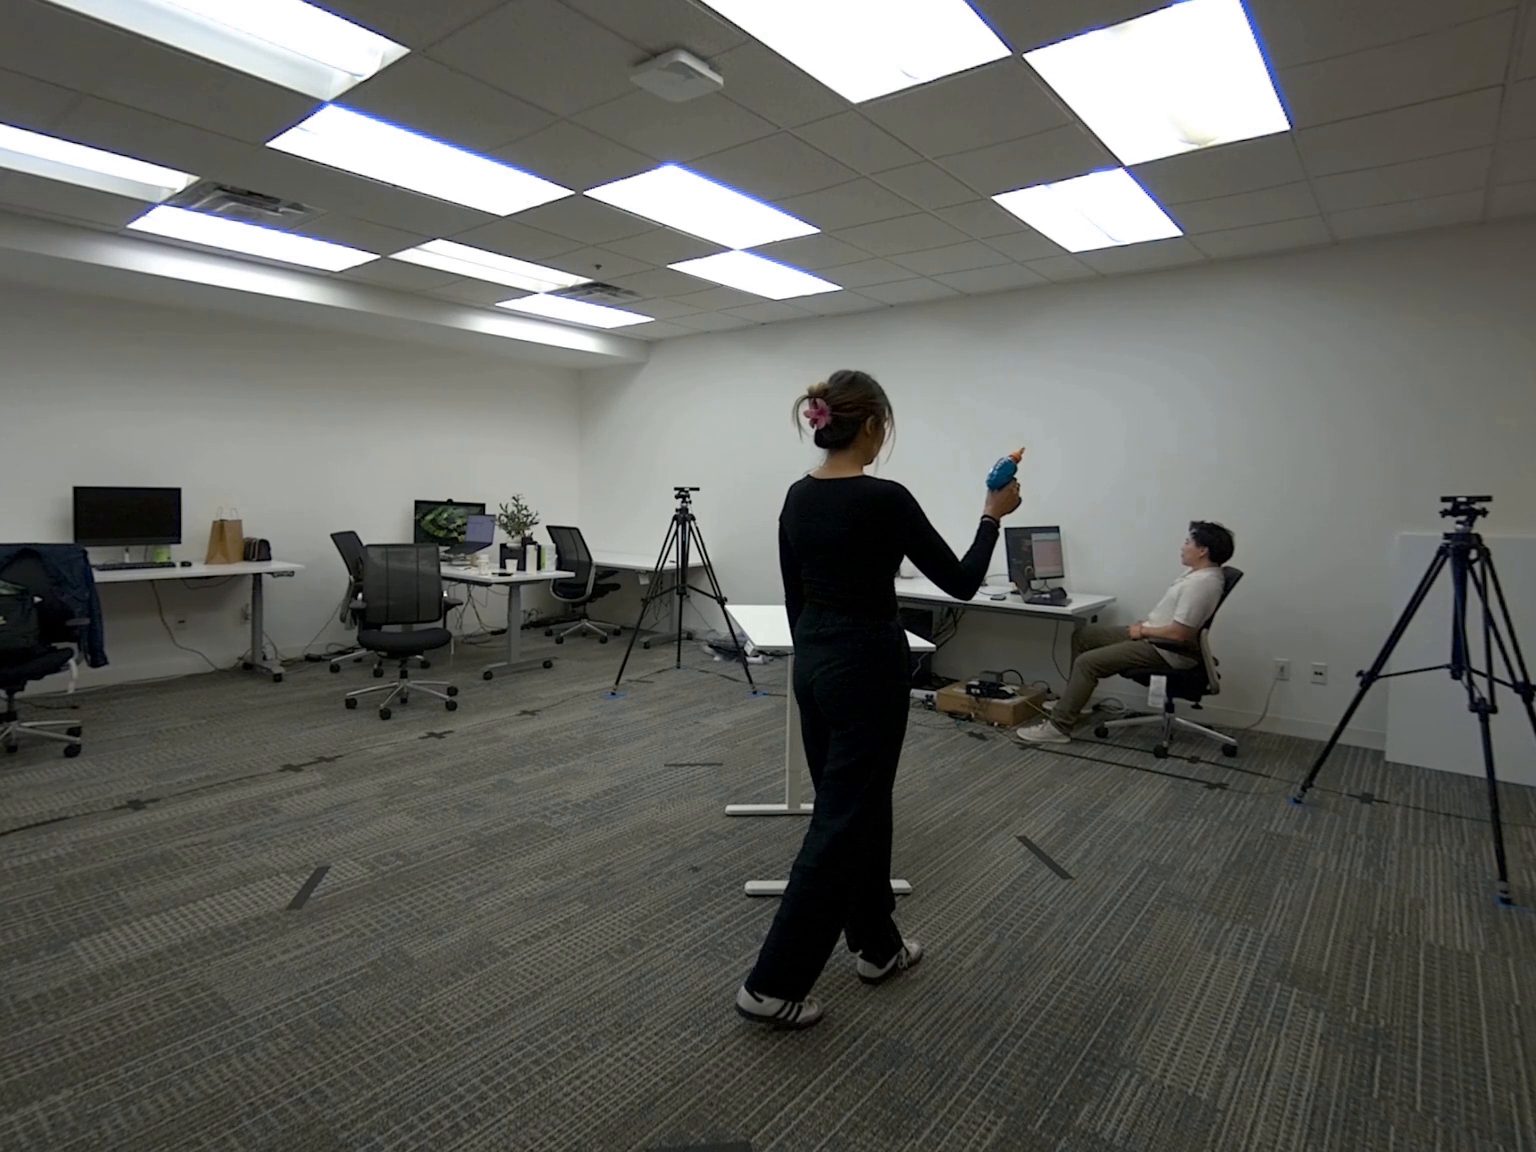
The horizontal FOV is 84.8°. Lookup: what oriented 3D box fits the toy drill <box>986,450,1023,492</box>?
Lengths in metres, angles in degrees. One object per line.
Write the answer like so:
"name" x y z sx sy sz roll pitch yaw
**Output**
"toy drill" 0.666 -0.273 2.334 0.169 0.141 0.063 -46 33 -19
